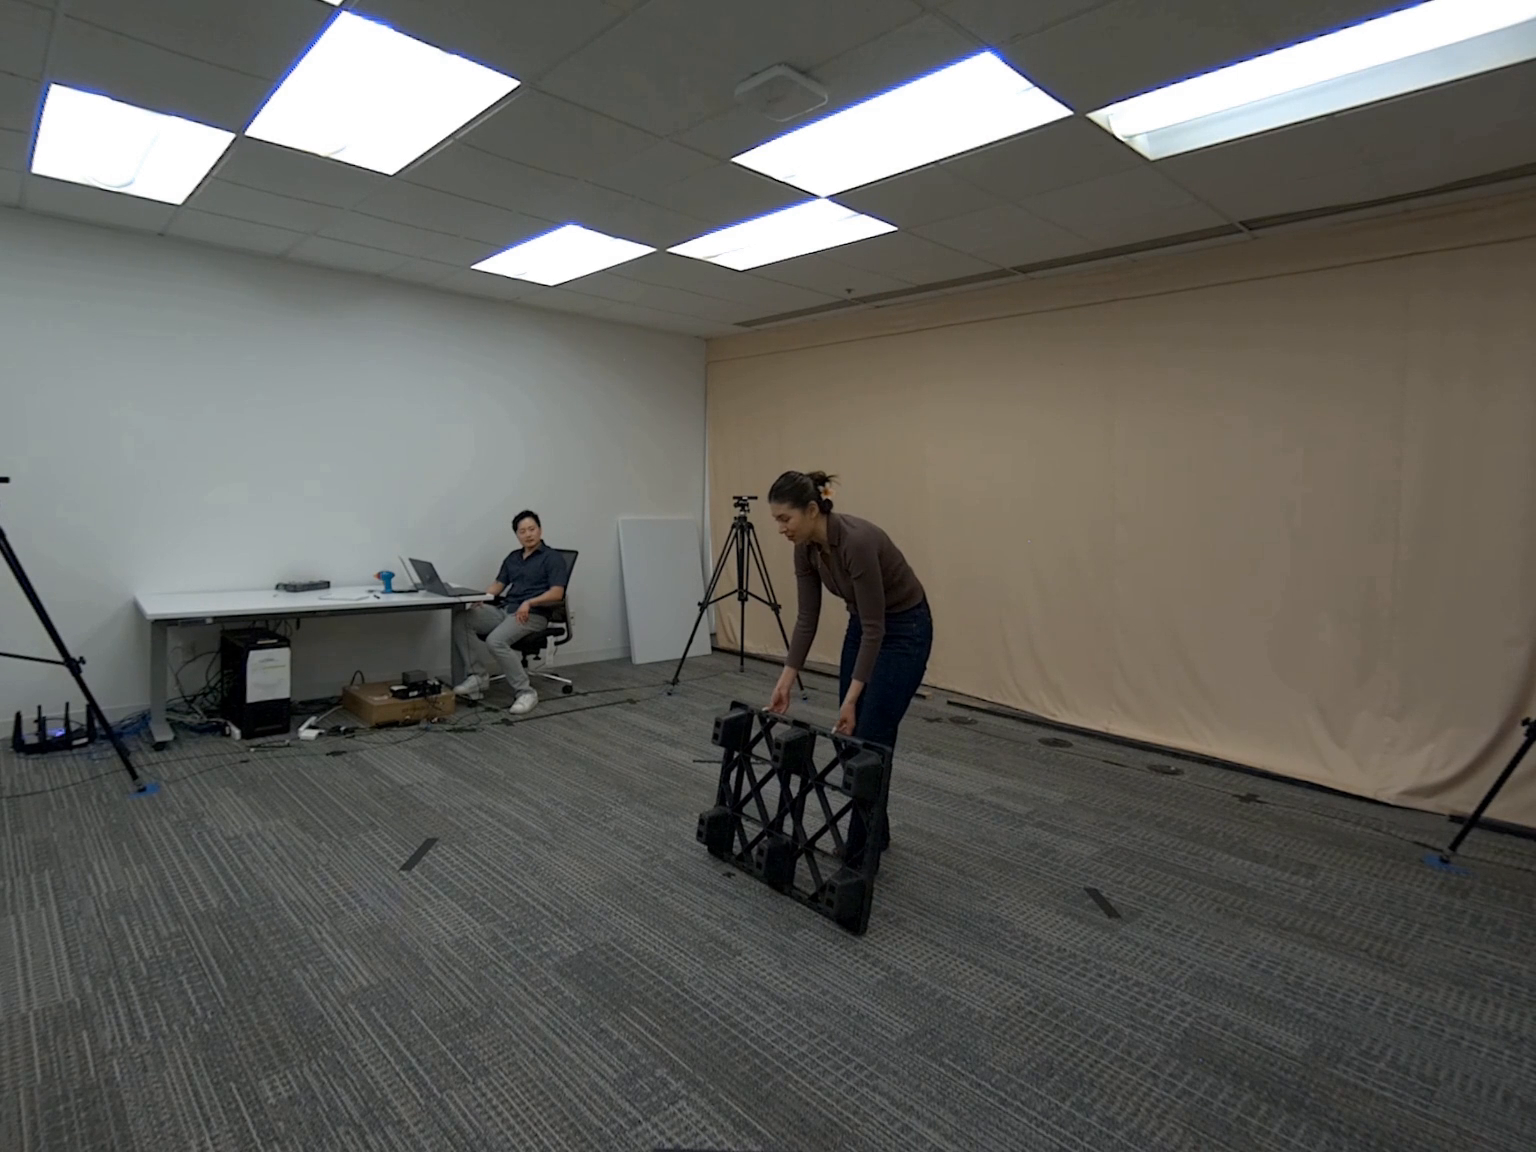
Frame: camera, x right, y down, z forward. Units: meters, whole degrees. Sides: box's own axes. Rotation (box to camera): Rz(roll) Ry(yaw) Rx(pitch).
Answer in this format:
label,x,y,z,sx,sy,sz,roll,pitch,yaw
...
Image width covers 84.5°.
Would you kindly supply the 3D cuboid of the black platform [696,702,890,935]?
label,x,y,z,sx,sy,sz,roll,pitch,yaw
black platform,0.047,0.813,2.975,0.139,0.606,0.826,13,-5,-40
